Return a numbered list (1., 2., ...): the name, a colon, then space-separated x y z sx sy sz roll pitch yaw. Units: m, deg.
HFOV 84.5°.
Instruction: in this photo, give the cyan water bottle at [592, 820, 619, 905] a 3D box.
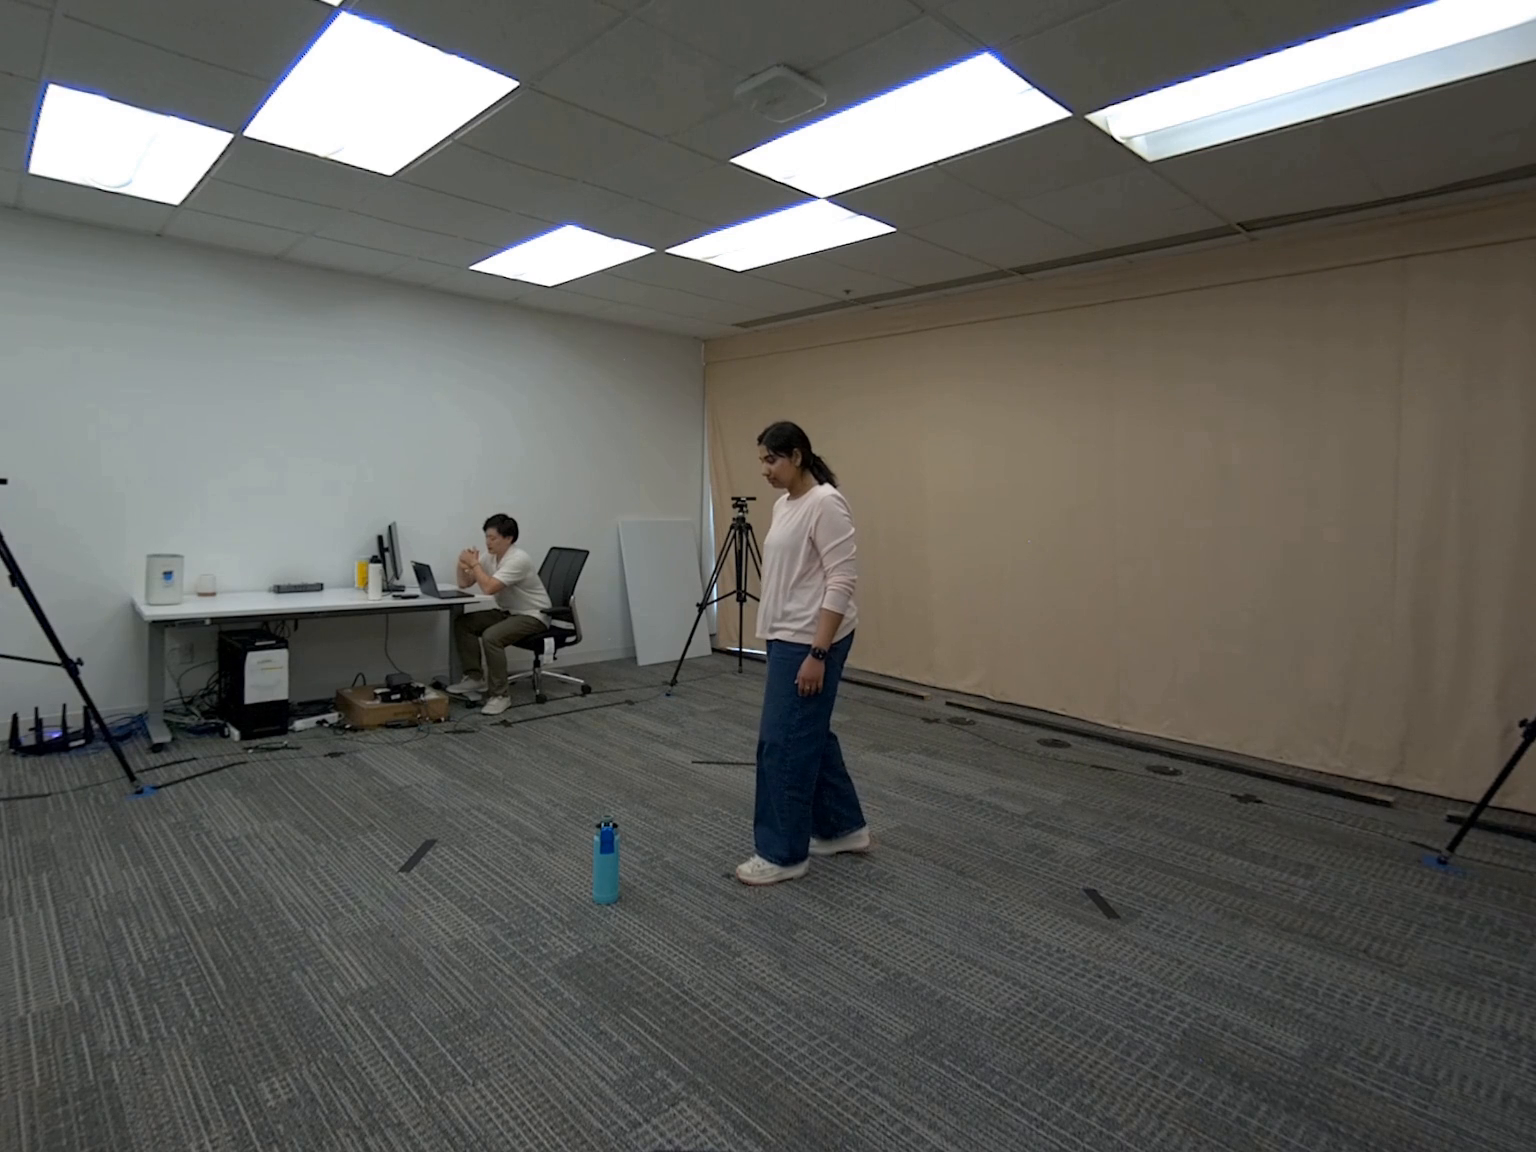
1. cyan water bottle: -0.566 0.978 2.895 0.092 0.282 0.093 3 5 -2
